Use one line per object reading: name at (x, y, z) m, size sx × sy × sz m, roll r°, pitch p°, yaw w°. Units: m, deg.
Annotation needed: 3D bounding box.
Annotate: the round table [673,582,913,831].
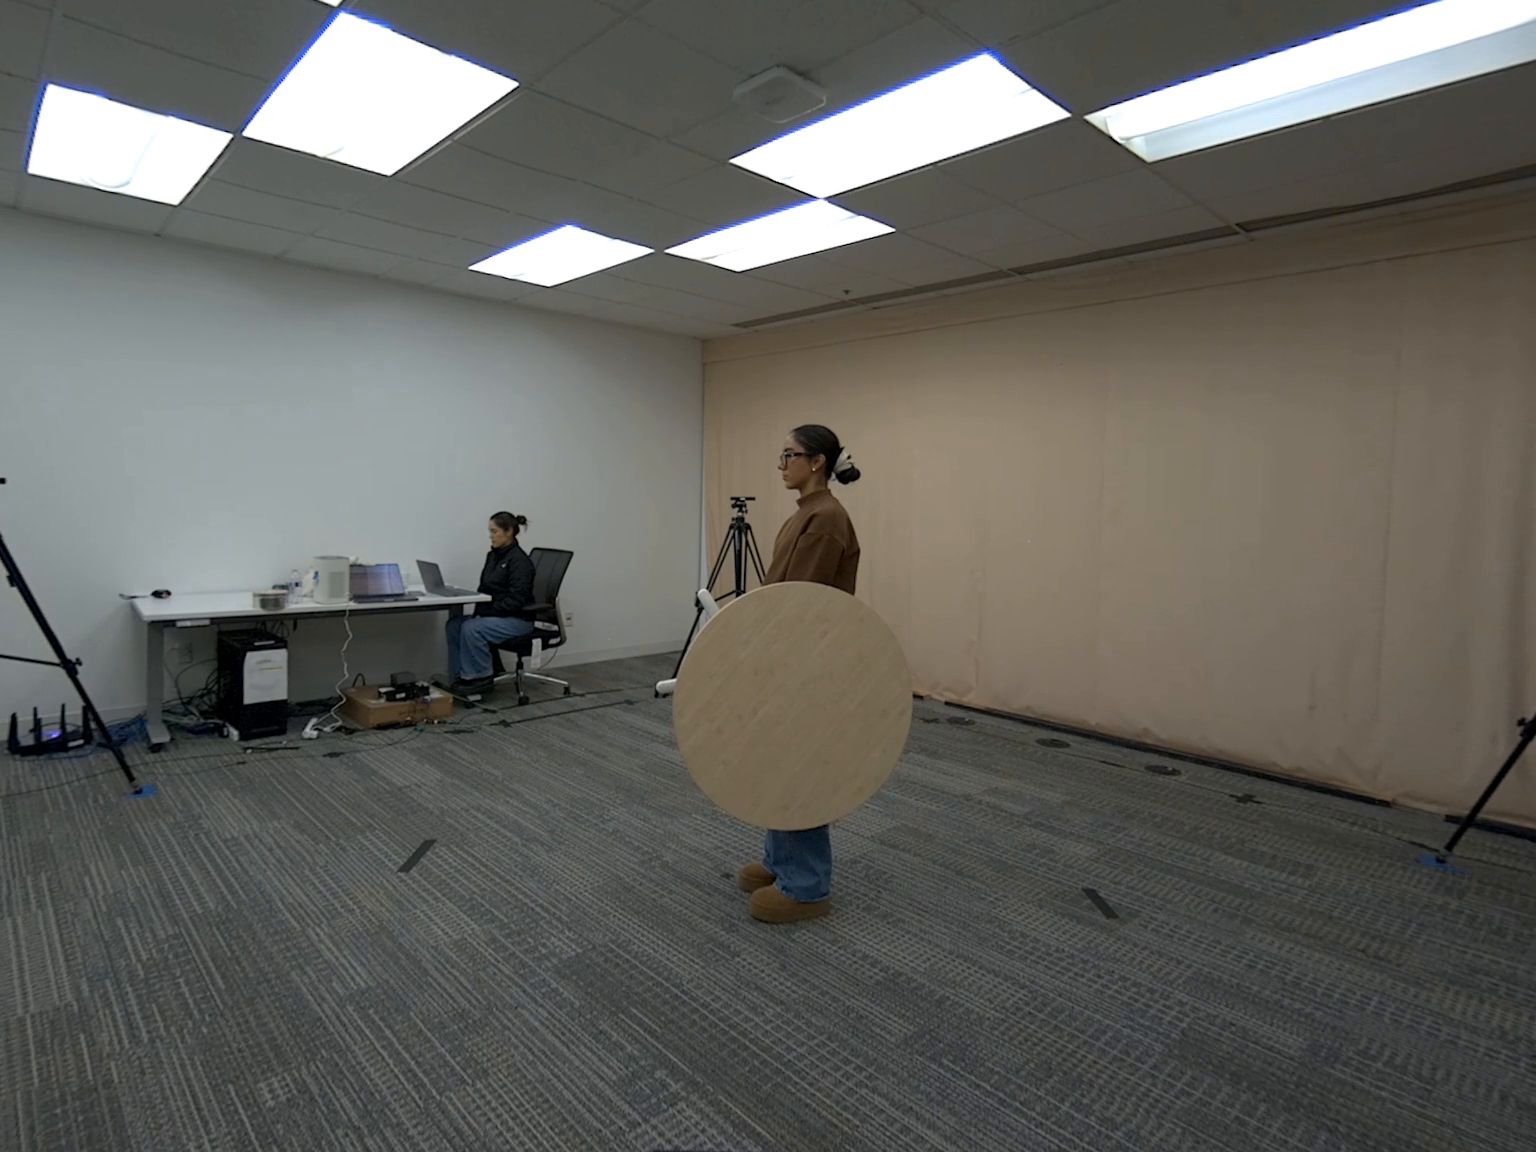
round table at (-0.013, 0.389, 2.980) m, size 0.756 × 0.764 × 0.802 m, roll 0°, pitch 1°, yaw -14°
